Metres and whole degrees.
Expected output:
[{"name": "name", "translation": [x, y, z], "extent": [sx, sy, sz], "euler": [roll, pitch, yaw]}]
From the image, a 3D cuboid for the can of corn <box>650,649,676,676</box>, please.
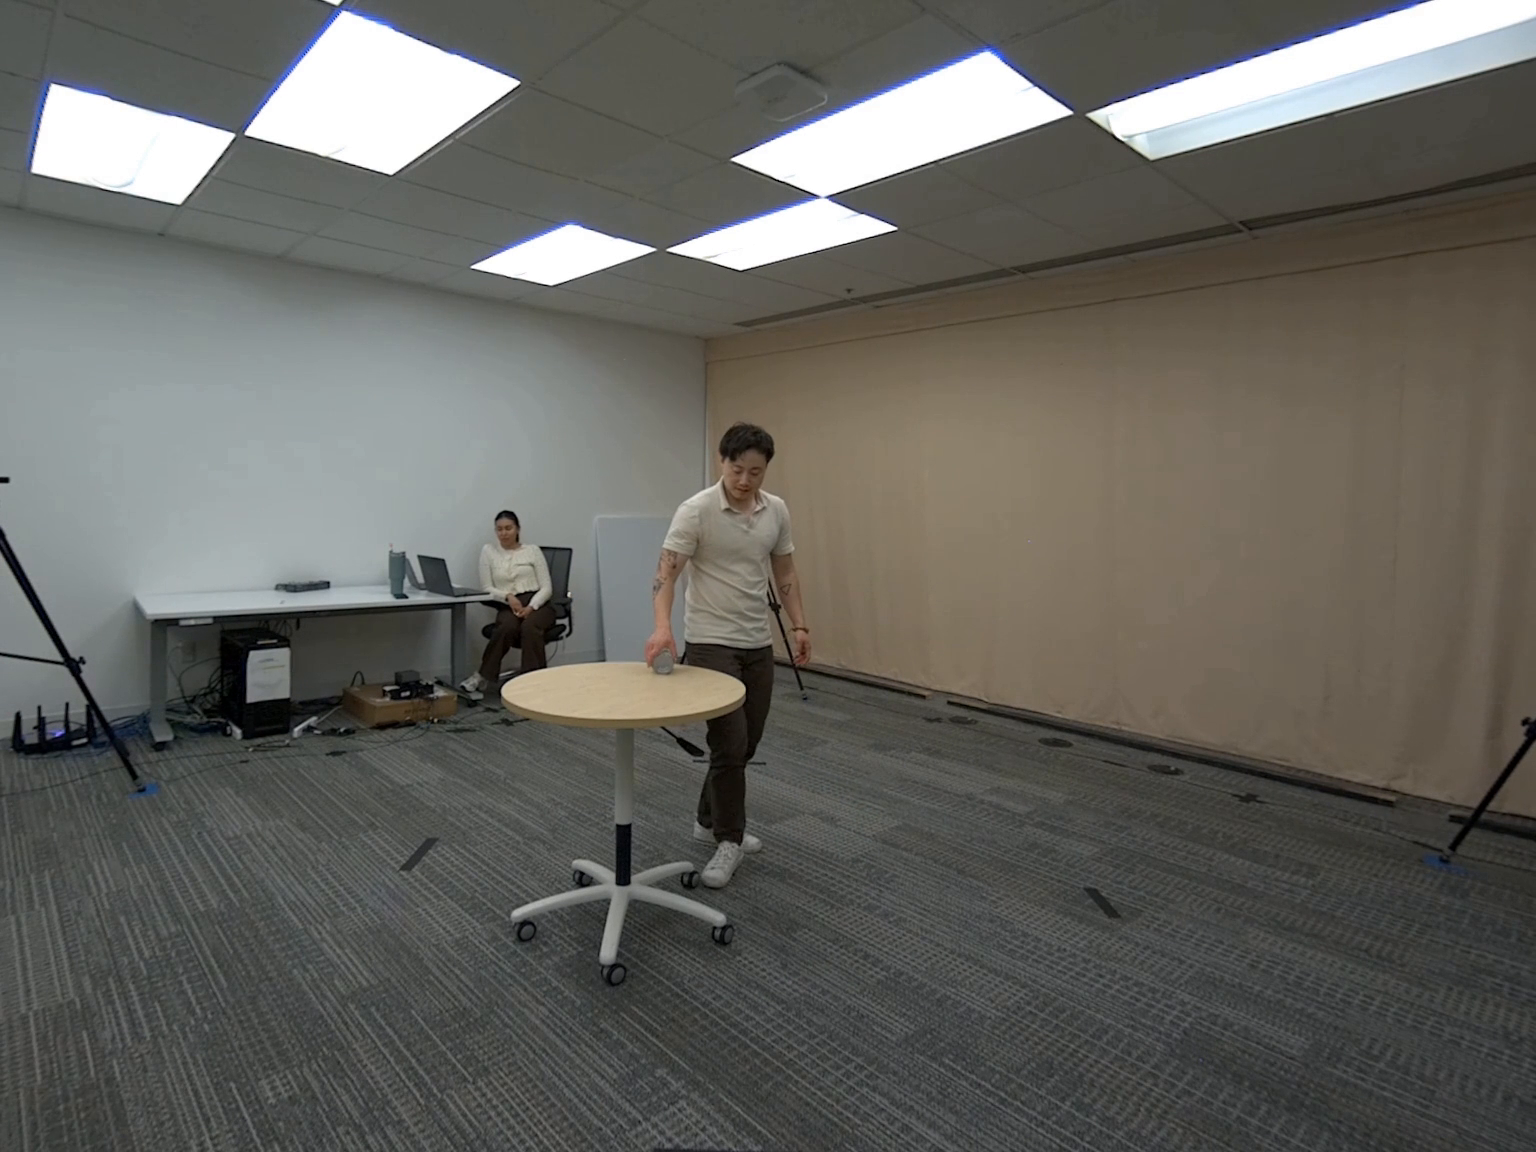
[{"name": "can of corn", "translation": [-0.377, 0.293, 2.903], "extent": [0.074, 0.074, 0.111], "euler": [2, 4, 4]}]
